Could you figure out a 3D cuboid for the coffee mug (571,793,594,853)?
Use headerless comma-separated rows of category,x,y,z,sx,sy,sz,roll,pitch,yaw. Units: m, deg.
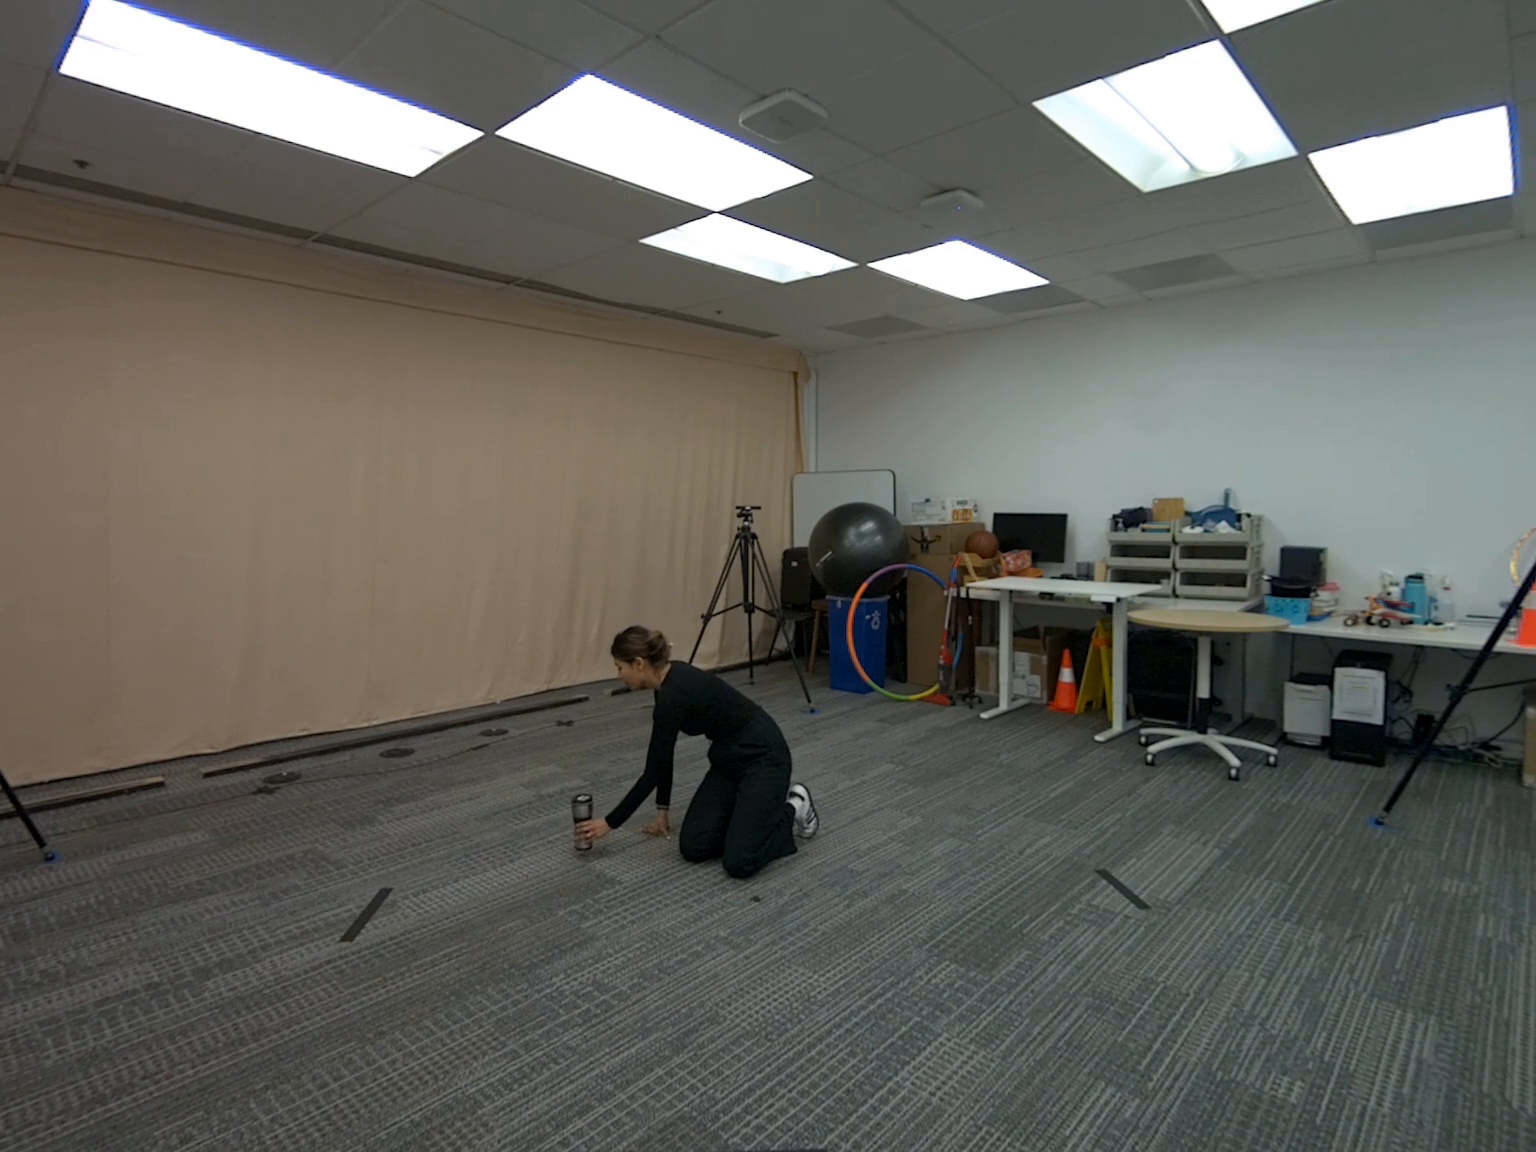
coffee mug,-0.735,0.985,3.381,0.089,0.202,0.121,-3,5,11
